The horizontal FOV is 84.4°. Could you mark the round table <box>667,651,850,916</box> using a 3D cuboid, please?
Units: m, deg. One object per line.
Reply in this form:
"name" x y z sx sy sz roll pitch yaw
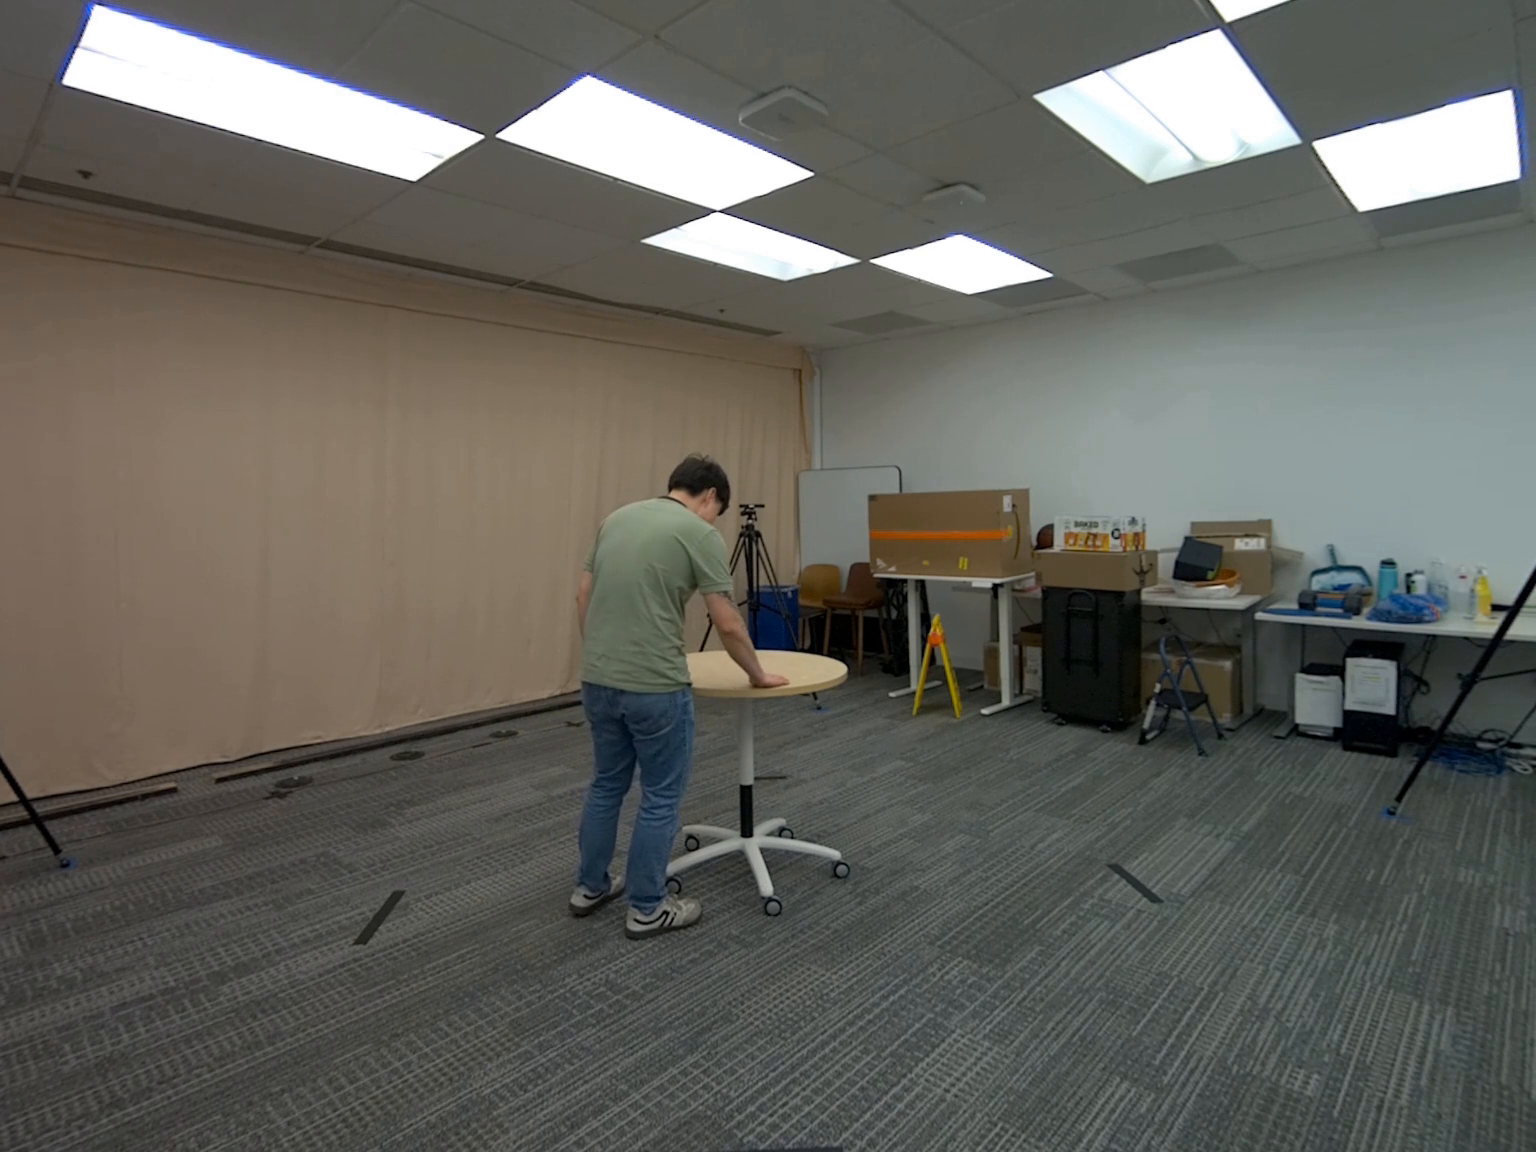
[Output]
"round table" -0.078 0.736 3.173 0.763 0.792 0.766 -1 4 -2
